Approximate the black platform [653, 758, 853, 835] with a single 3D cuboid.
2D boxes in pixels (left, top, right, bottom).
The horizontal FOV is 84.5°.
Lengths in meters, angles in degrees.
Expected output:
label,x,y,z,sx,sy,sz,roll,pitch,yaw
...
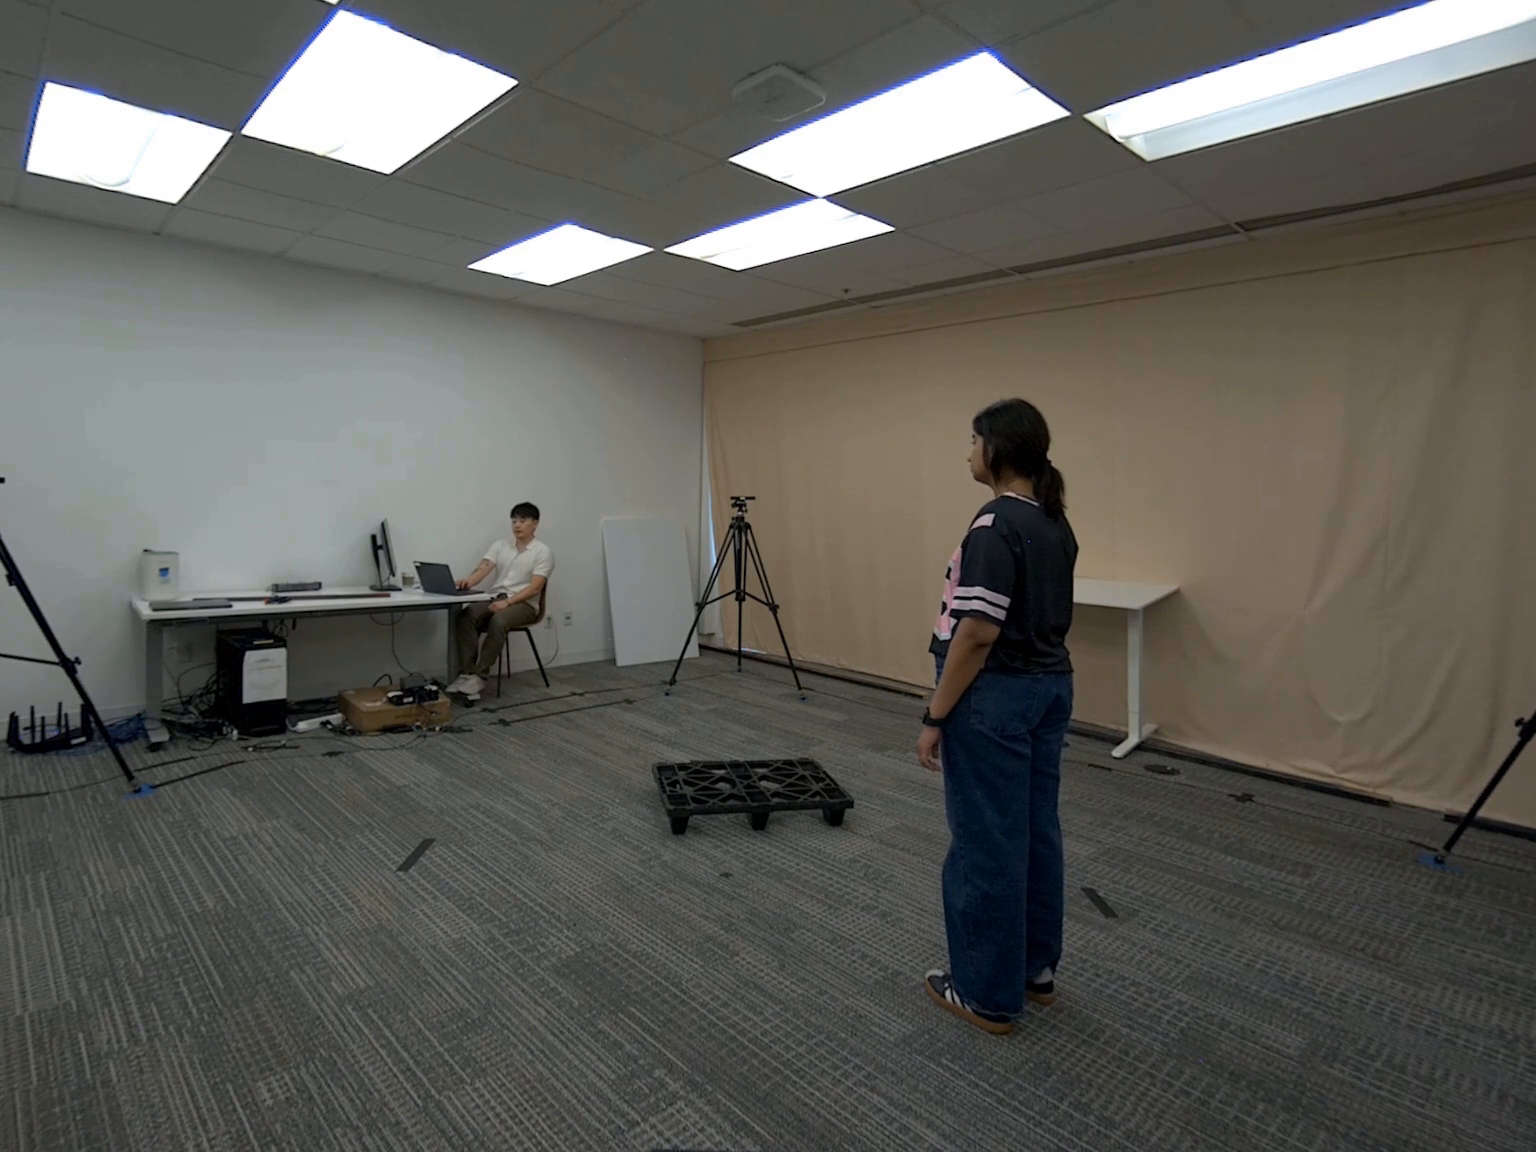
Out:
label,x,y,z,sx,sy,sz,roll,pitch,yaw
black platform,-0.095,0.981,3.762,0.798,0.143,0.613,0,6,-12
